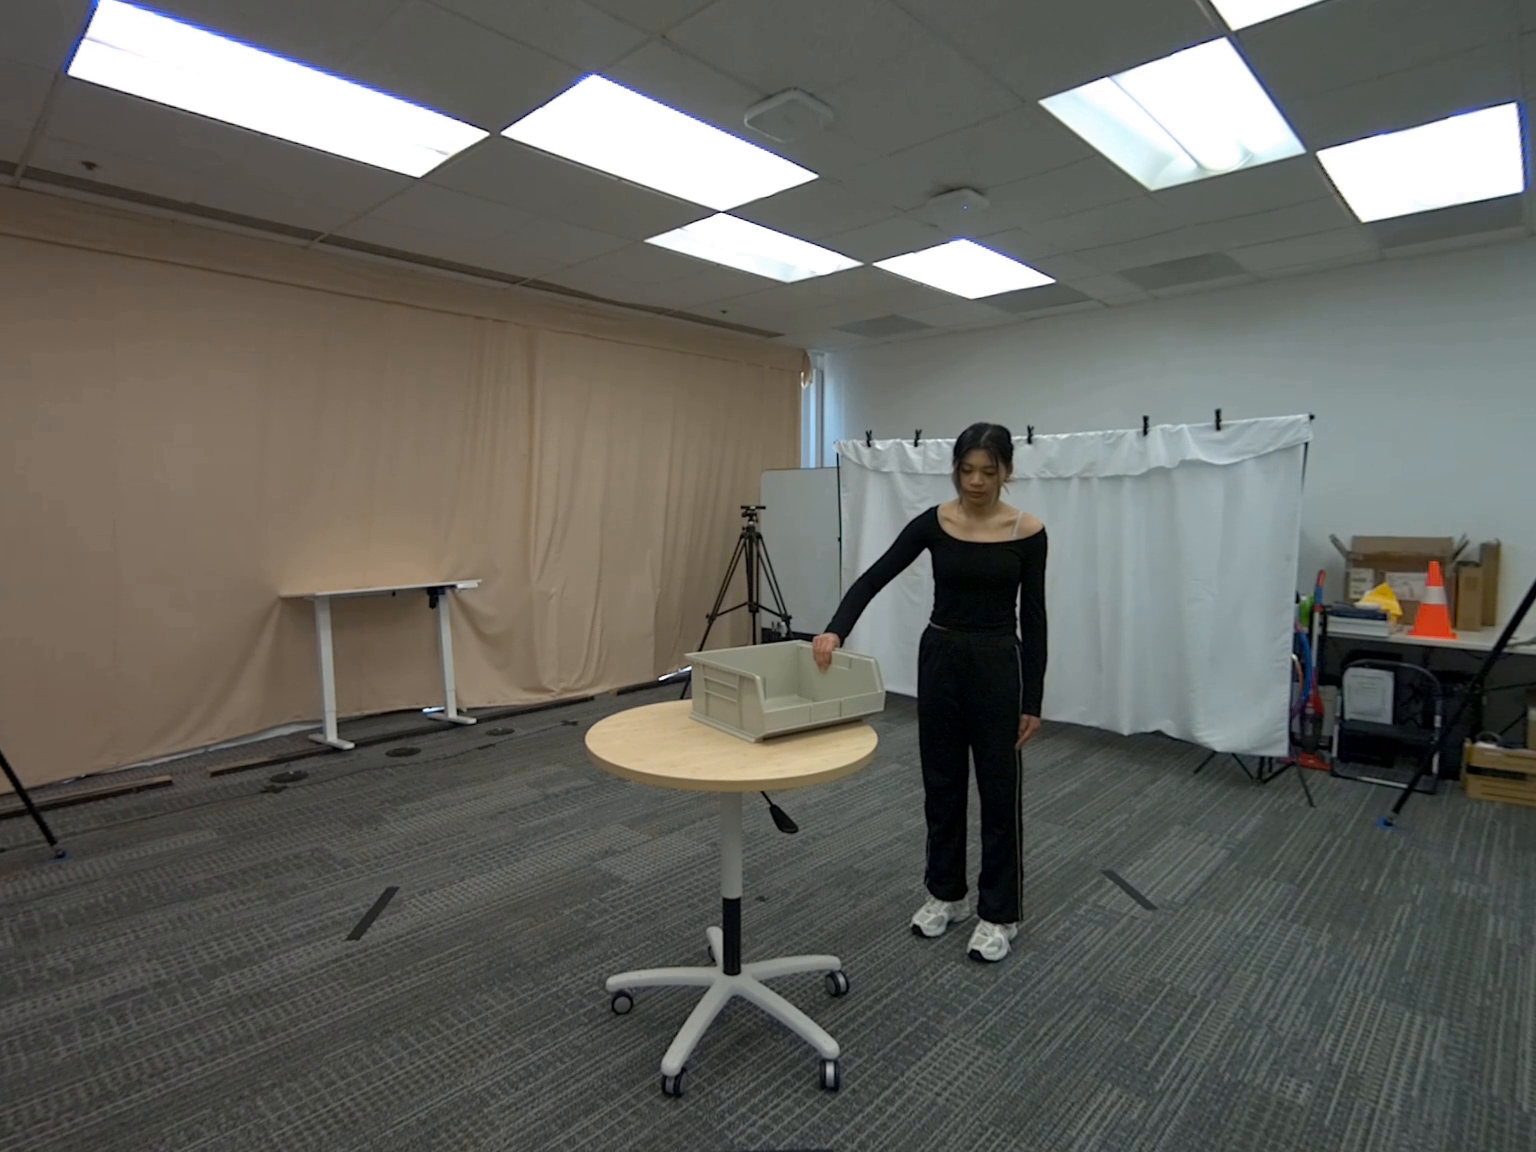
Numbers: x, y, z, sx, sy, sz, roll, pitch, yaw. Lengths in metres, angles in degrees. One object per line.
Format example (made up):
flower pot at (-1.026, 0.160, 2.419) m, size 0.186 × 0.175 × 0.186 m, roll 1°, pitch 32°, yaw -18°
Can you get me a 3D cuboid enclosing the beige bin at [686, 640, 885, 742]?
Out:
beige bin at (0.045, 0.316, 2.346) m, size 0.410 × 0.188 × 0.389 m, roll -5°, pitch 5°, yaw -35°
